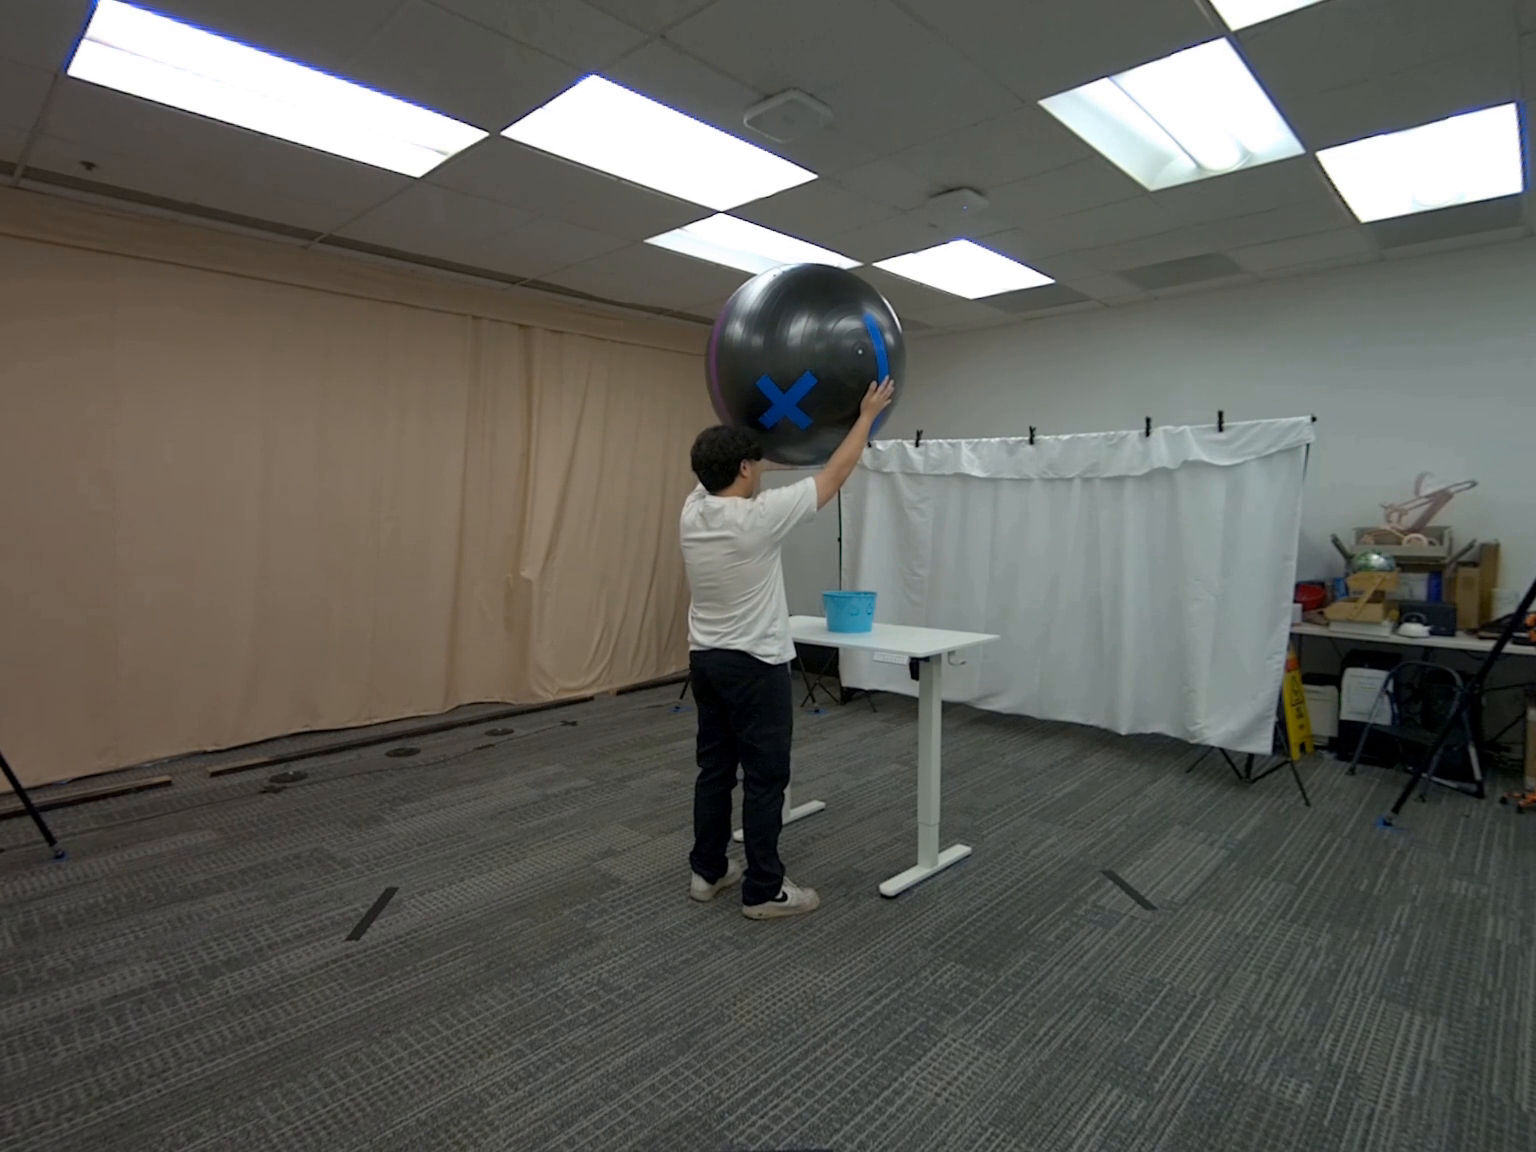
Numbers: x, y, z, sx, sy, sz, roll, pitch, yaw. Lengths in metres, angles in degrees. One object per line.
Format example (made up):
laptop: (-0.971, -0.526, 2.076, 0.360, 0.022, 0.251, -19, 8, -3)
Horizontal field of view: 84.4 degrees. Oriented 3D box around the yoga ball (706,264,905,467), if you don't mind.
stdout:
yoga ball: (0.145, -0.788, 3.208, 0.757, 0.756, 0.760, 0, 4, -2)
